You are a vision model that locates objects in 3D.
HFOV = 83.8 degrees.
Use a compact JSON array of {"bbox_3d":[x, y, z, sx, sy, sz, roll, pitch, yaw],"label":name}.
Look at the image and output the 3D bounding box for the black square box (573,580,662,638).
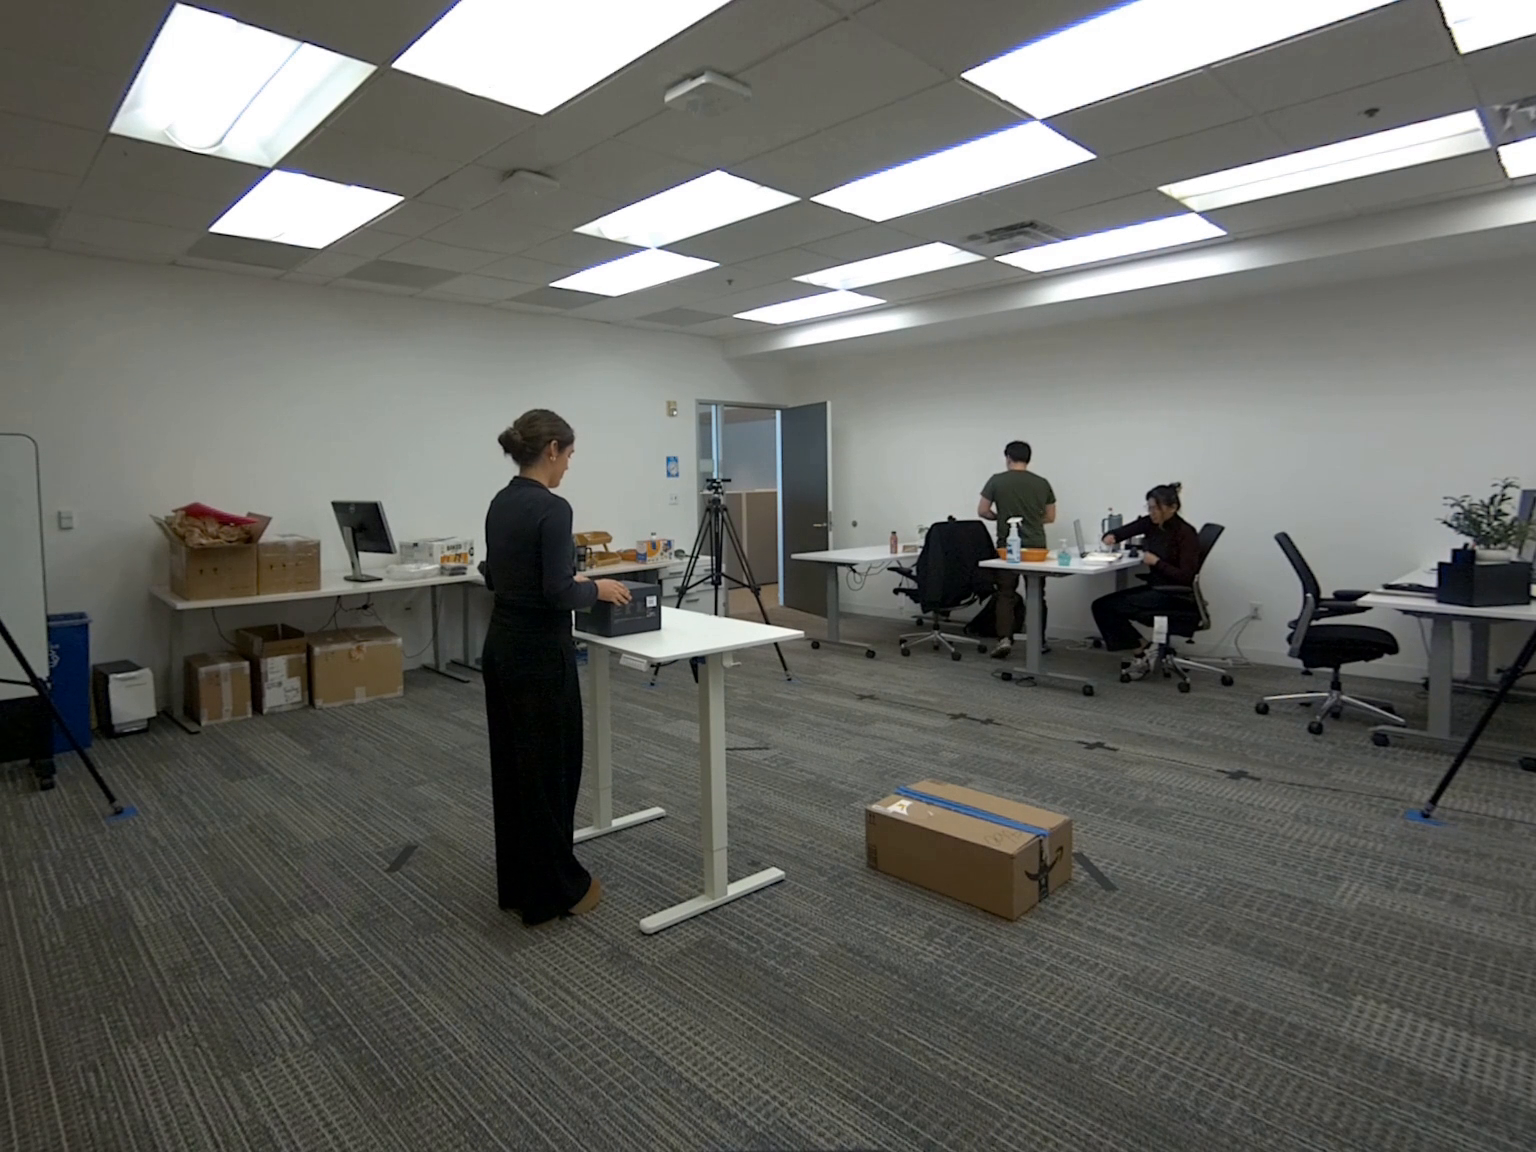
[{"bbox_3d":[-0.529,0.115,2.964,0.211,0.155,0.234,-6,5,-41],"label":"black square box"}]
